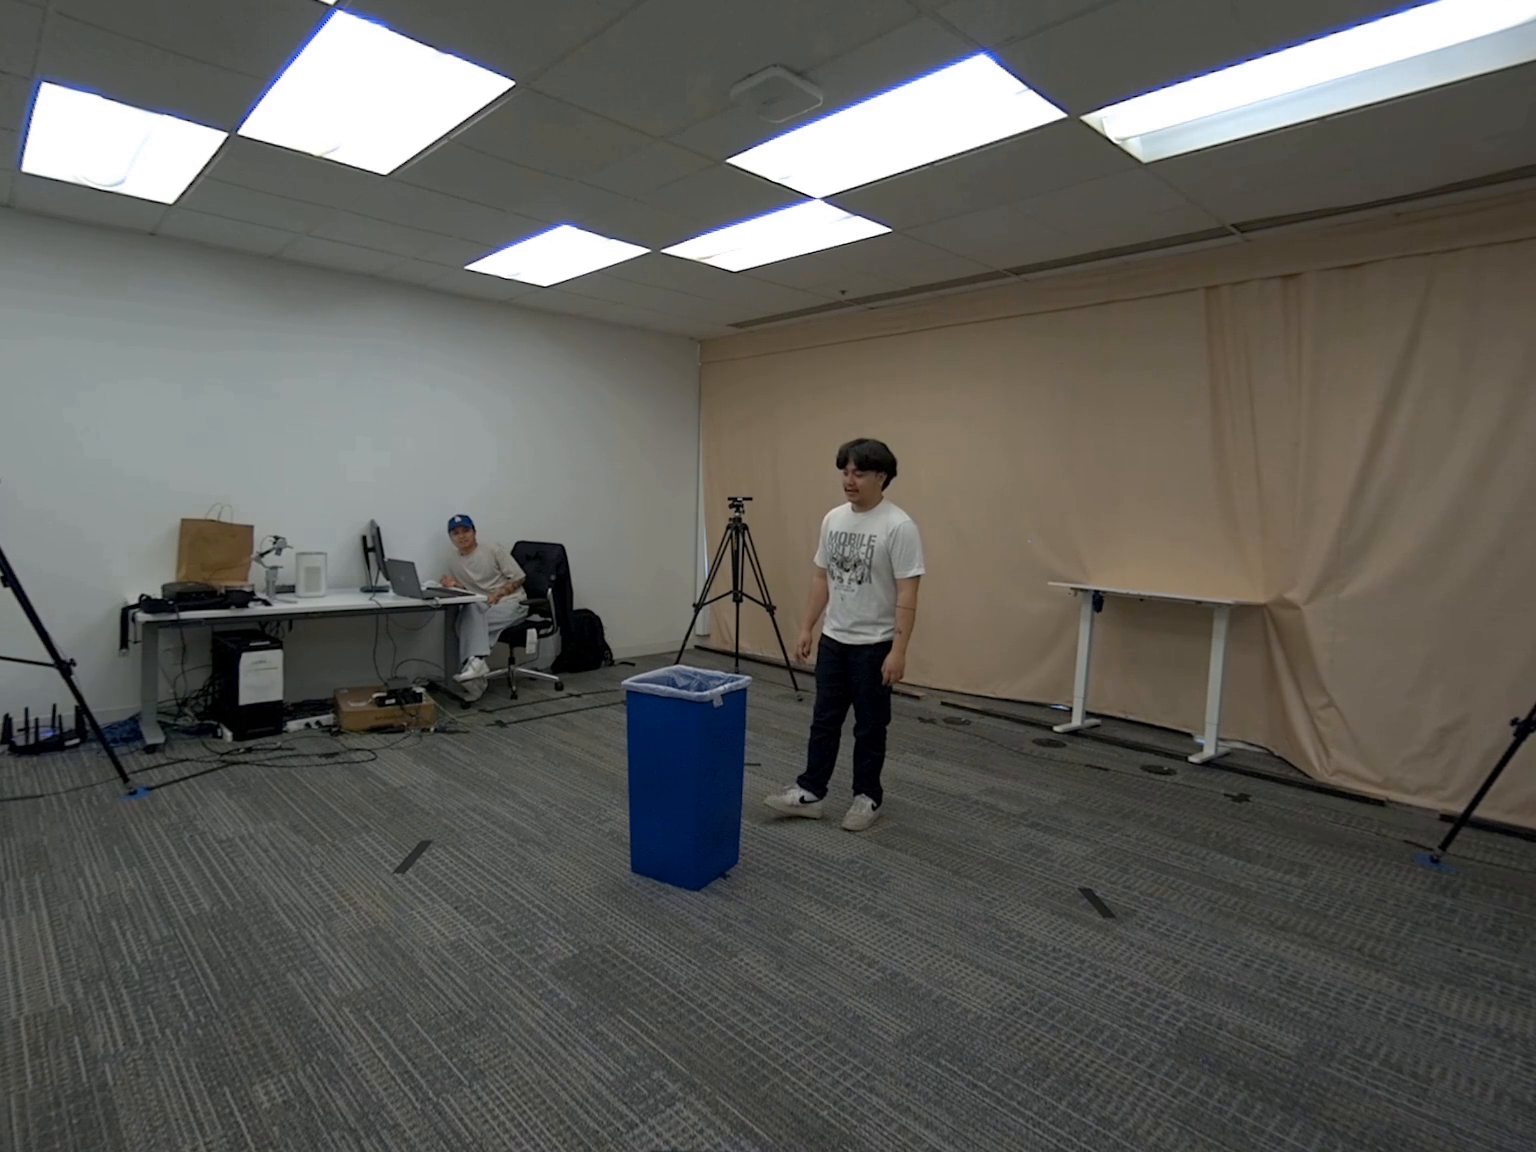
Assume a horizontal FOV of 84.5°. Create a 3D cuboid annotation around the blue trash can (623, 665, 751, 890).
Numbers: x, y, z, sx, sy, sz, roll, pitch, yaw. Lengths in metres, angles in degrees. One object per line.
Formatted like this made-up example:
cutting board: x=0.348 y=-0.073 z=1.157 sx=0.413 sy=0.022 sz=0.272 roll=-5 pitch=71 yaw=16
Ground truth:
blue trash can: x=-0.318 y=0.740 z=3.156 sx=0.382 sy=0.712 sz=0.371 roll=4 pitch=4 yaw=30
